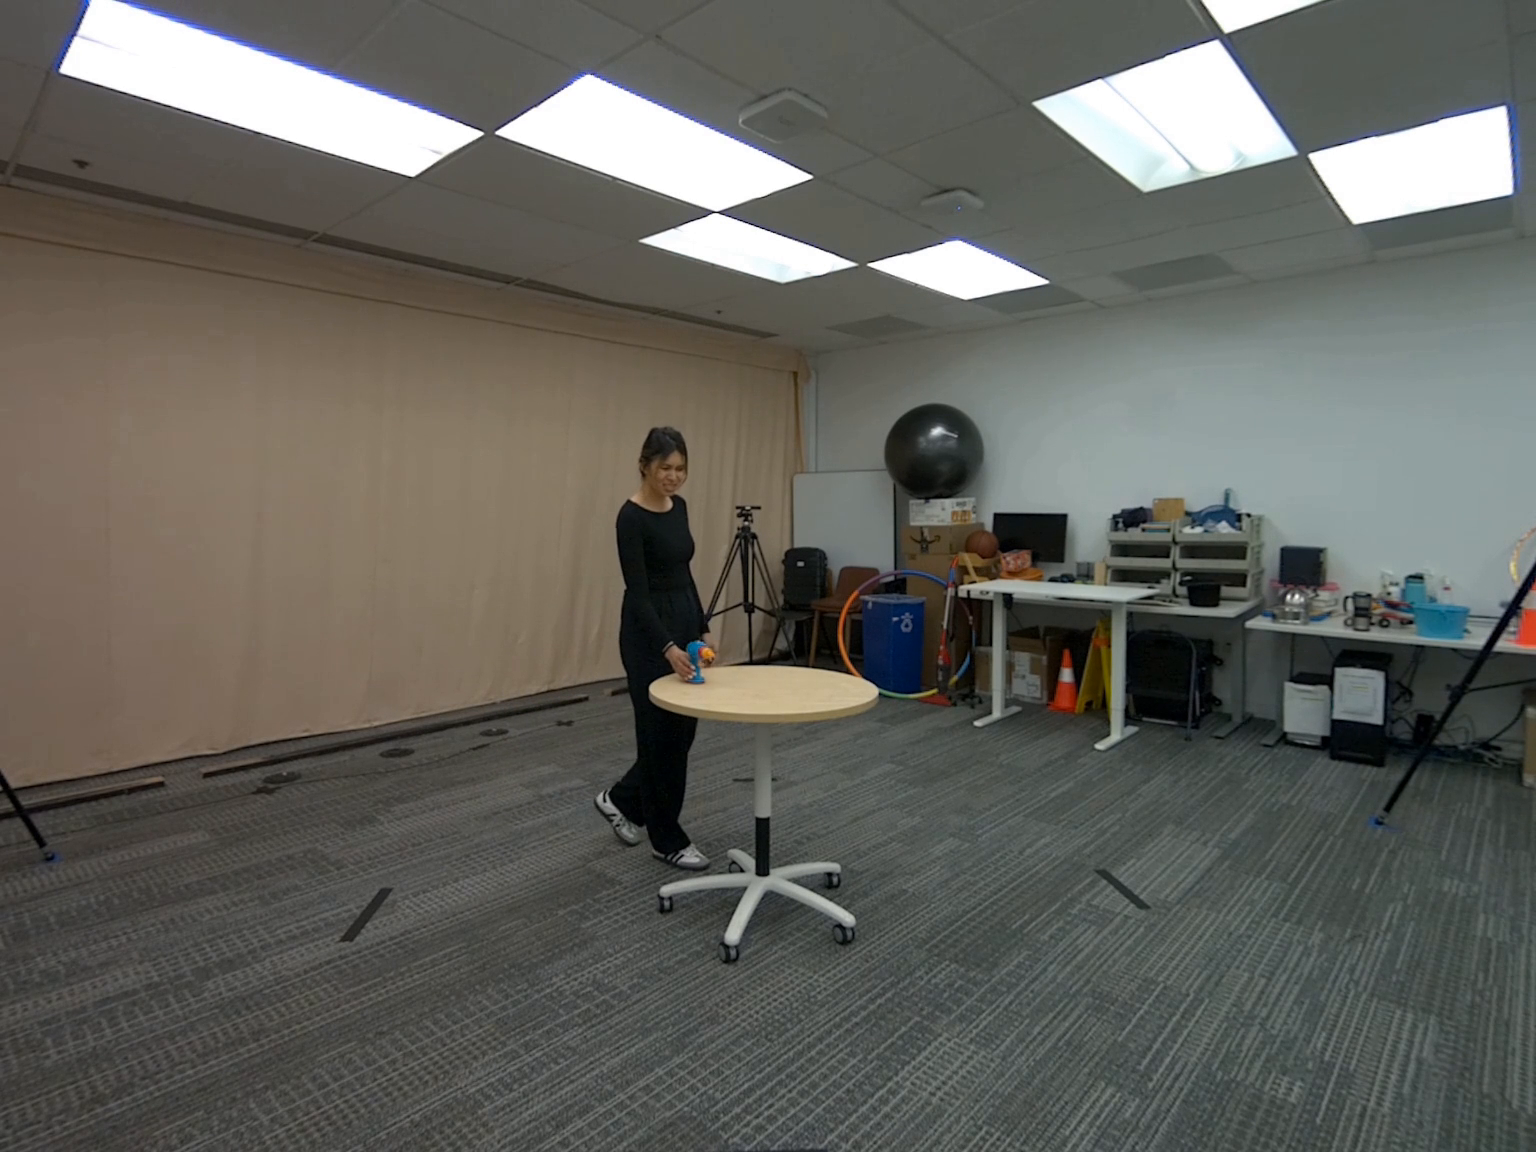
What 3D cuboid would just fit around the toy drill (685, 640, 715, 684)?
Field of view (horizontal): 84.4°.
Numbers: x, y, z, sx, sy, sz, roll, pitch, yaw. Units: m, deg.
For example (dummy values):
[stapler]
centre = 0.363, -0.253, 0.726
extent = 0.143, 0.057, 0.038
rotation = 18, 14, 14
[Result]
[toy drill]
centre = -0.220, 0.296, 2.863
extent = 0.059, 0.146, 0.175
rotation = -4, 4, -32
